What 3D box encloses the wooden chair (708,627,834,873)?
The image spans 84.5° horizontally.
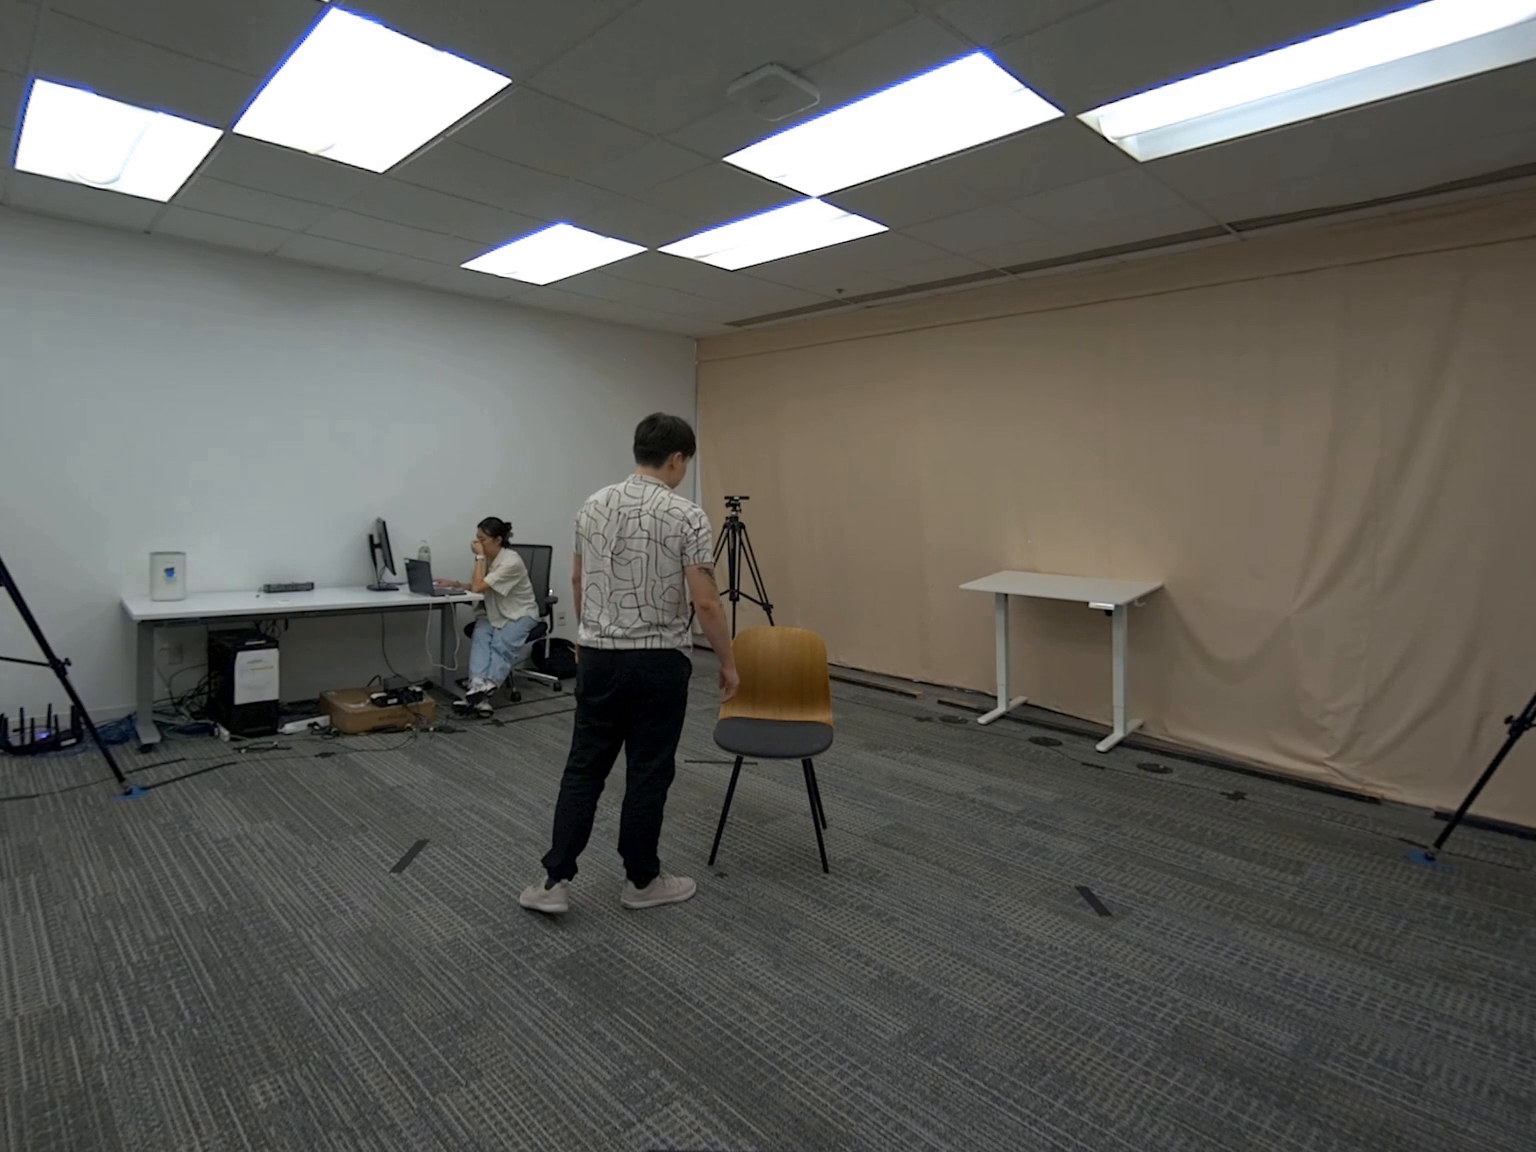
[{"bbox_3d":[0.022,0.656,3.342,0.480,0.878,0.520,2,-1,5],"label":"wooden chair"}]
